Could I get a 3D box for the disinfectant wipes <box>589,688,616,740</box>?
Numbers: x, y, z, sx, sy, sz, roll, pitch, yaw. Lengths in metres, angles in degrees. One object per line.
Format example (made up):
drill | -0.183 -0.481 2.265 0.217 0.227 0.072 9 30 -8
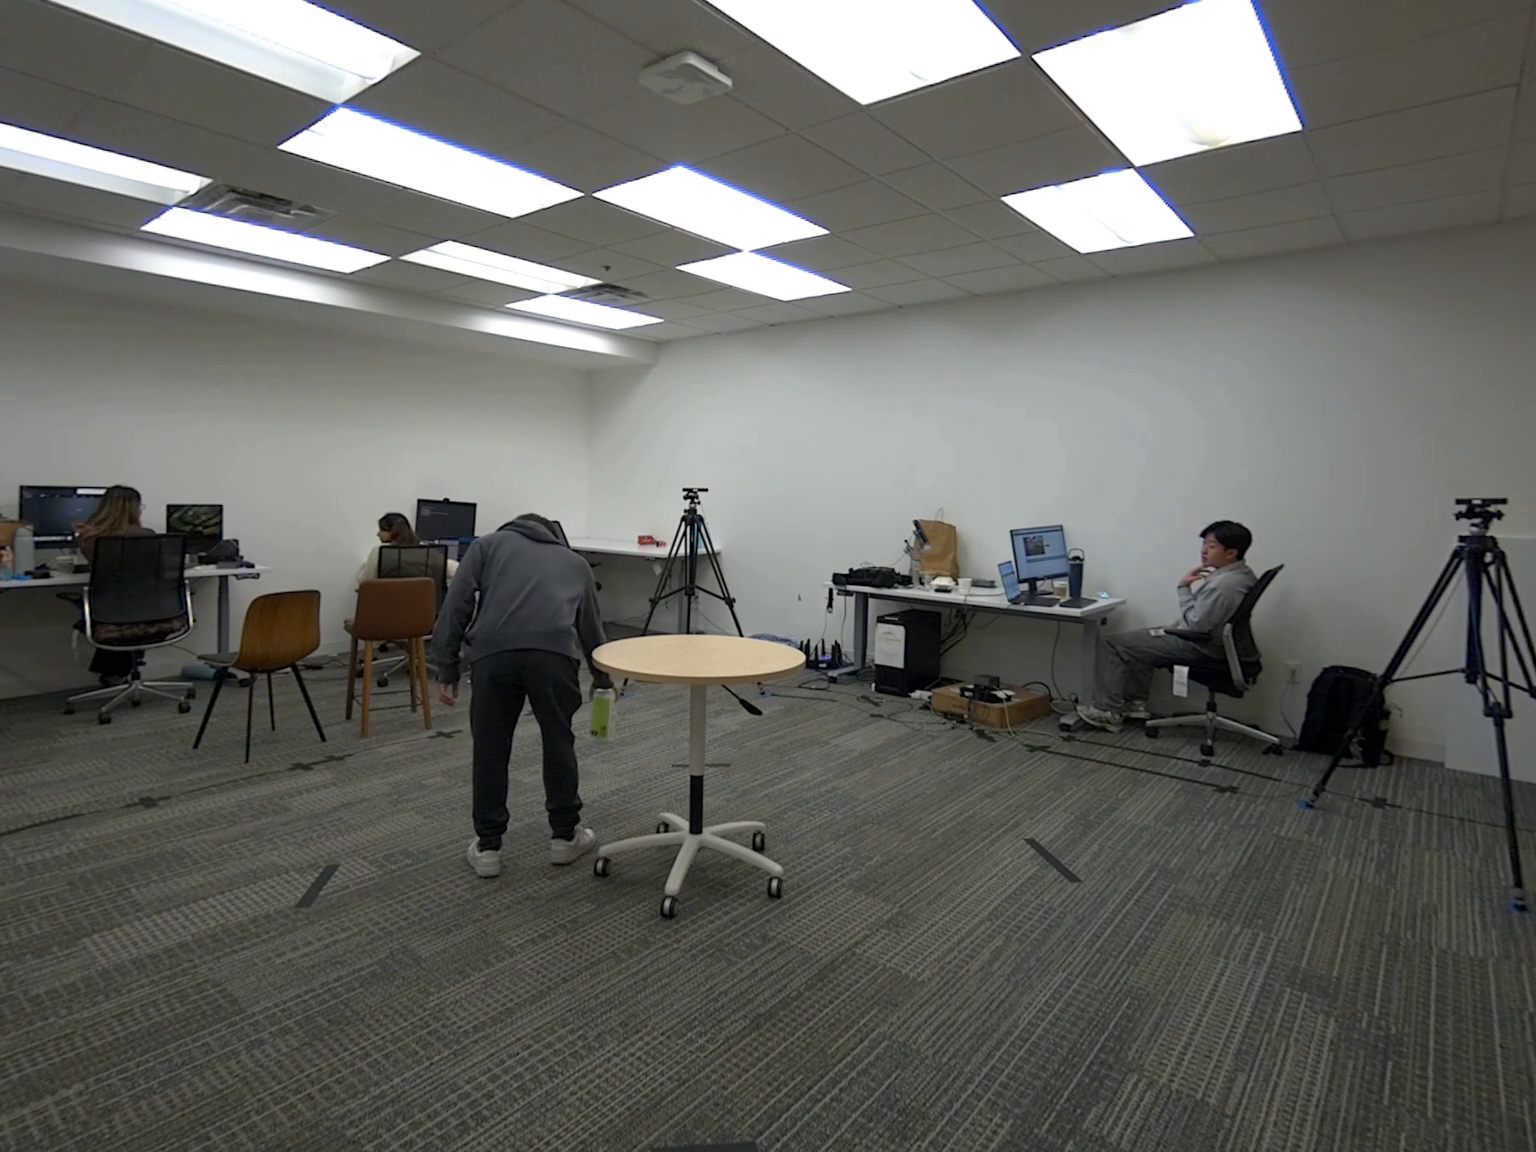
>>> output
disinfectant wipes | -0.721 0.593 3.656 0.118 0.218 0.118 3 -2 -2
